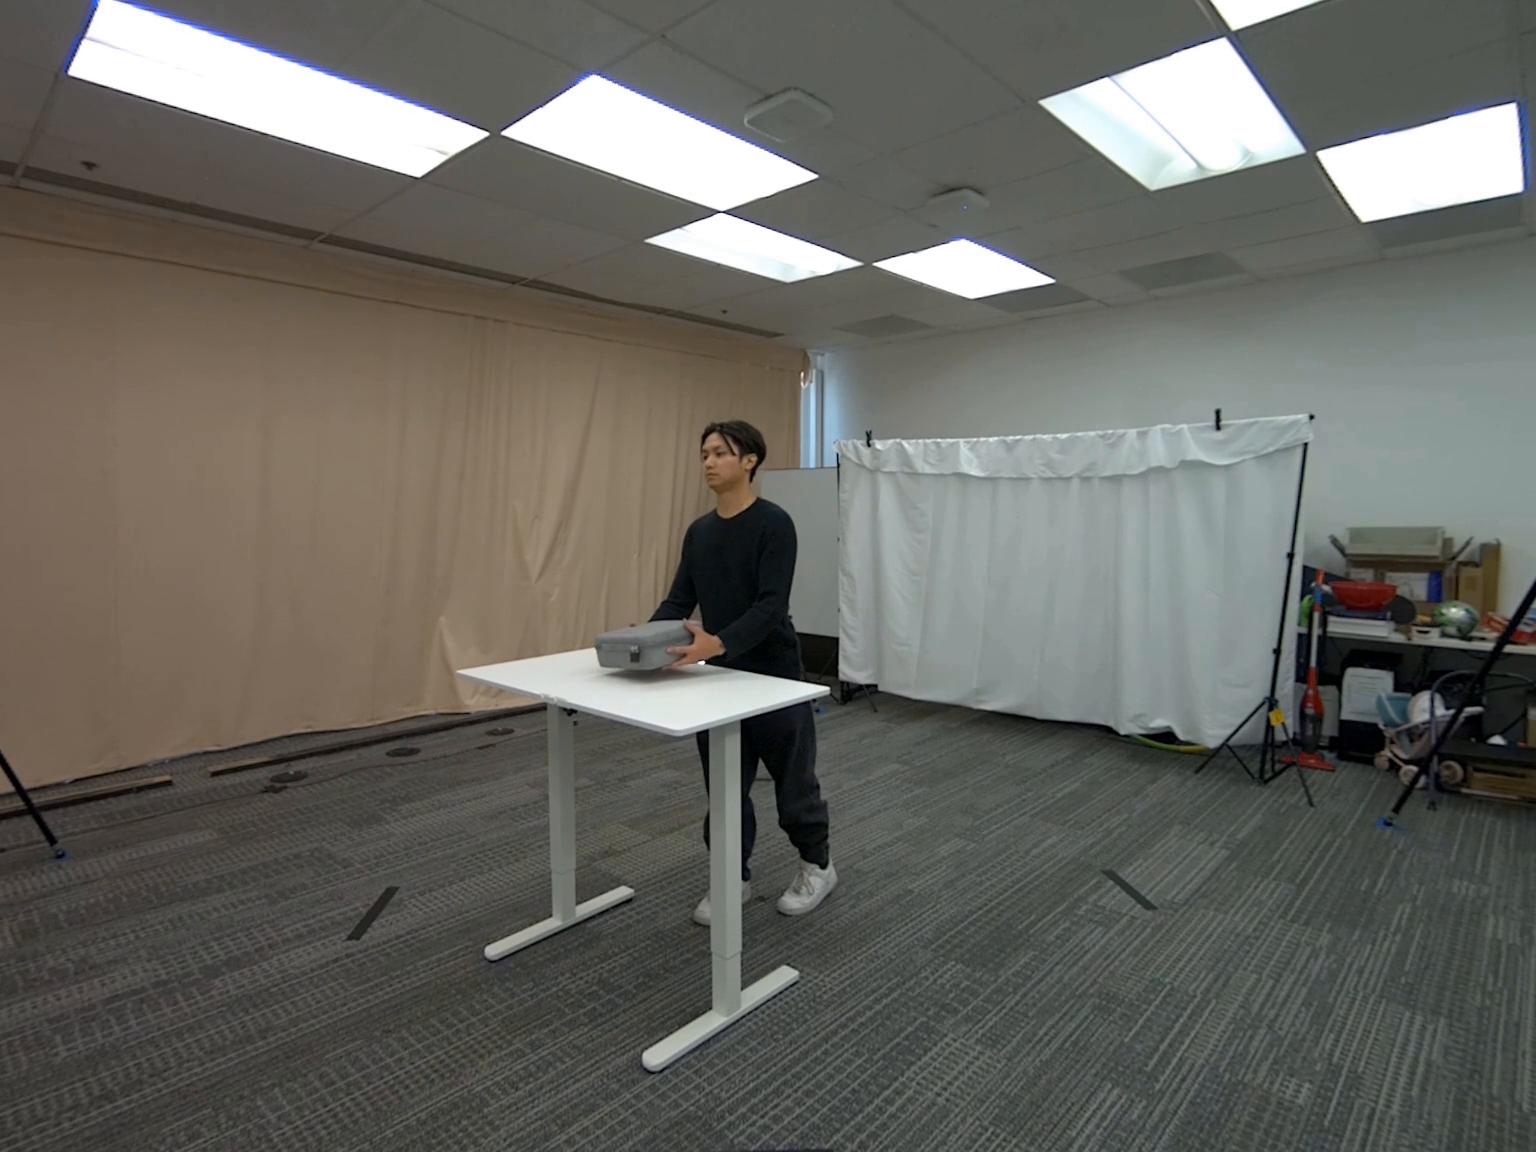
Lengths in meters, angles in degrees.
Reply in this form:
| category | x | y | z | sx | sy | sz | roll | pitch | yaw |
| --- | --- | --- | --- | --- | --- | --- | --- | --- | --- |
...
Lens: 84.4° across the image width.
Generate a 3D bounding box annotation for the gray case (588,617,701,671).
| category | x | y | z | sx | sy | sz | roll | pitch | yaw |
| --- | --- | --- | --- | --- | --- | --- | --- | --- | --- |
| gray case | -0.354 | 0.201 | 2.558 | 0.265 | 0.104 | 0.253 | -5 | 5 | 42 |
